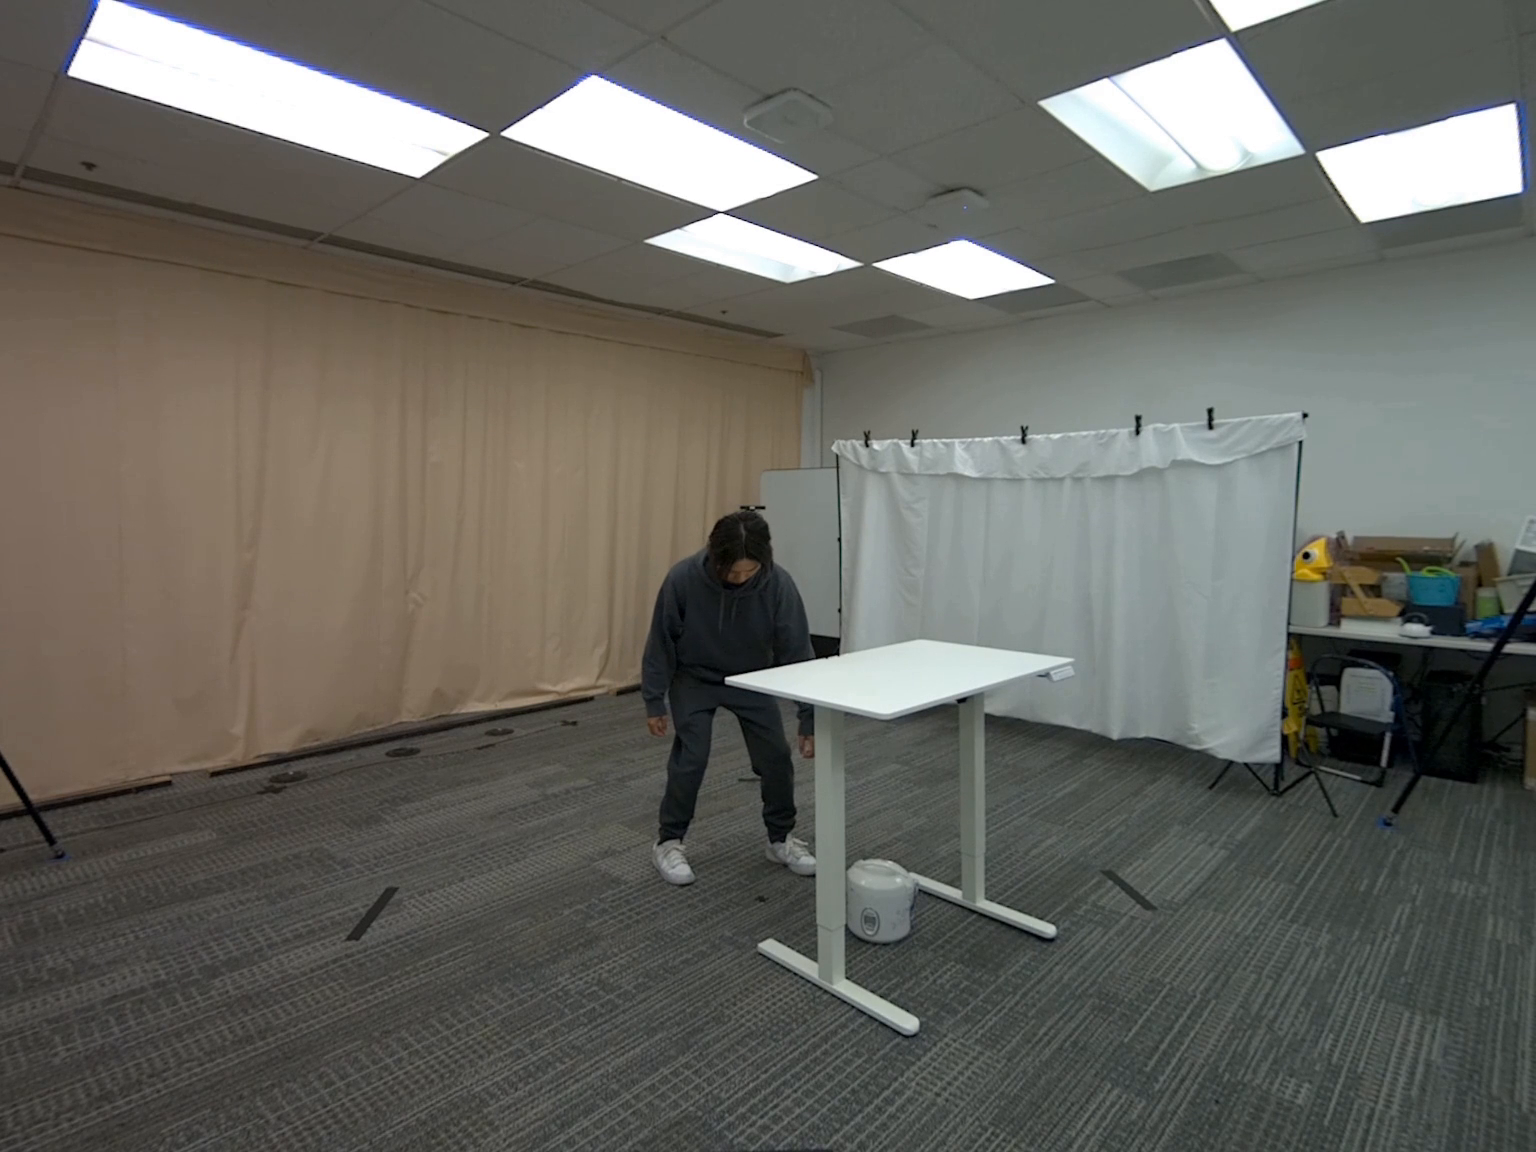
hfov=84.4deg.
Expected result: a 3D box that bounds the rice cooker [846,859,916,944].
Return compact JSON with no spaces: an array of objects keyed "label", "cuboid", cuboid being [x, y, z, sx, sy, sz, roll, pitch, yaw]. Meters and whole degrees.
[{"label":"rice cooker","cuboid":[0.369,1.045,2.745,0.226,0.232,0.212,2,3,25]}]
